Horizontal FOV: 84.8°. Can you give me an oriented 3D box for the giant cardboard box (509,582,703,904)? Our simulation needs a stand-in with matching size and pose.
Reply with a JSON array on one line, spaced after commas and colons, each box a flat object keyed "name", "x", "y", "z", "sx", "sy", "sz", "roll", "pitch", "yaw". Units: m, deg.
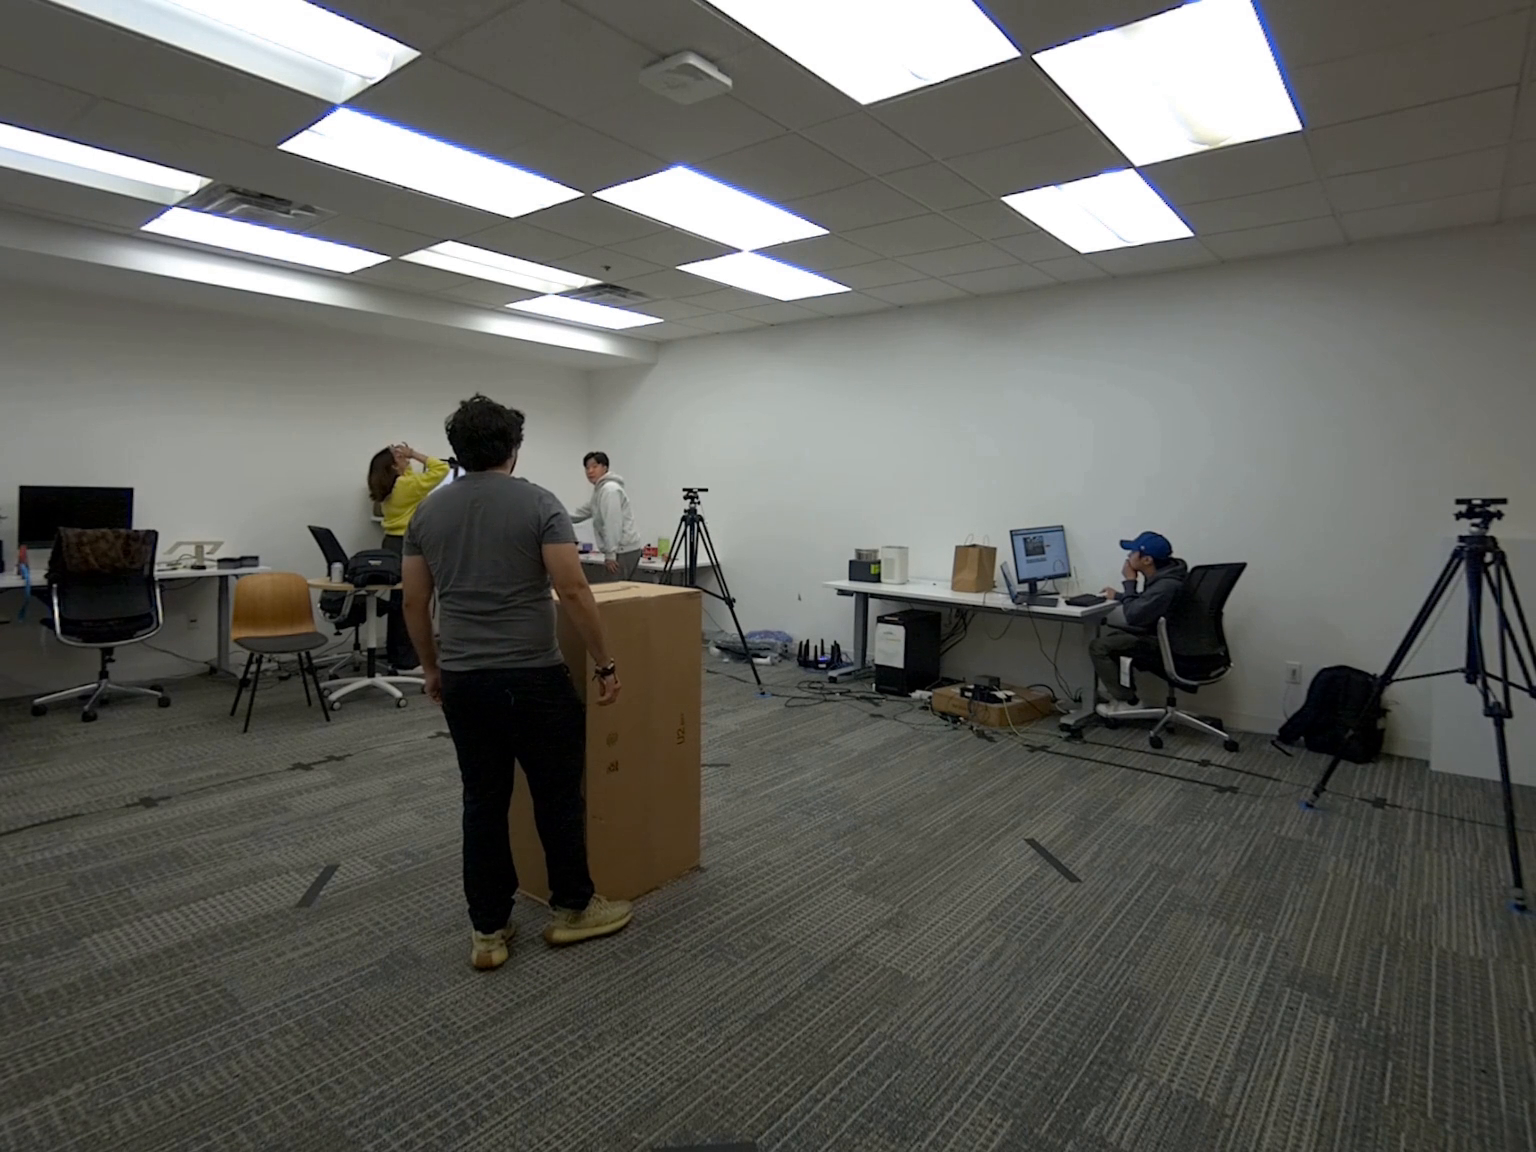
[{"name": "giant cardboard box", "x": -0.587, "y": 0.566, "z": 3.028, "sx": 0.461, "sy": 1.024, "sz": 0.567, "roll": 4, "pitch": 4, "yaw": 36}]
